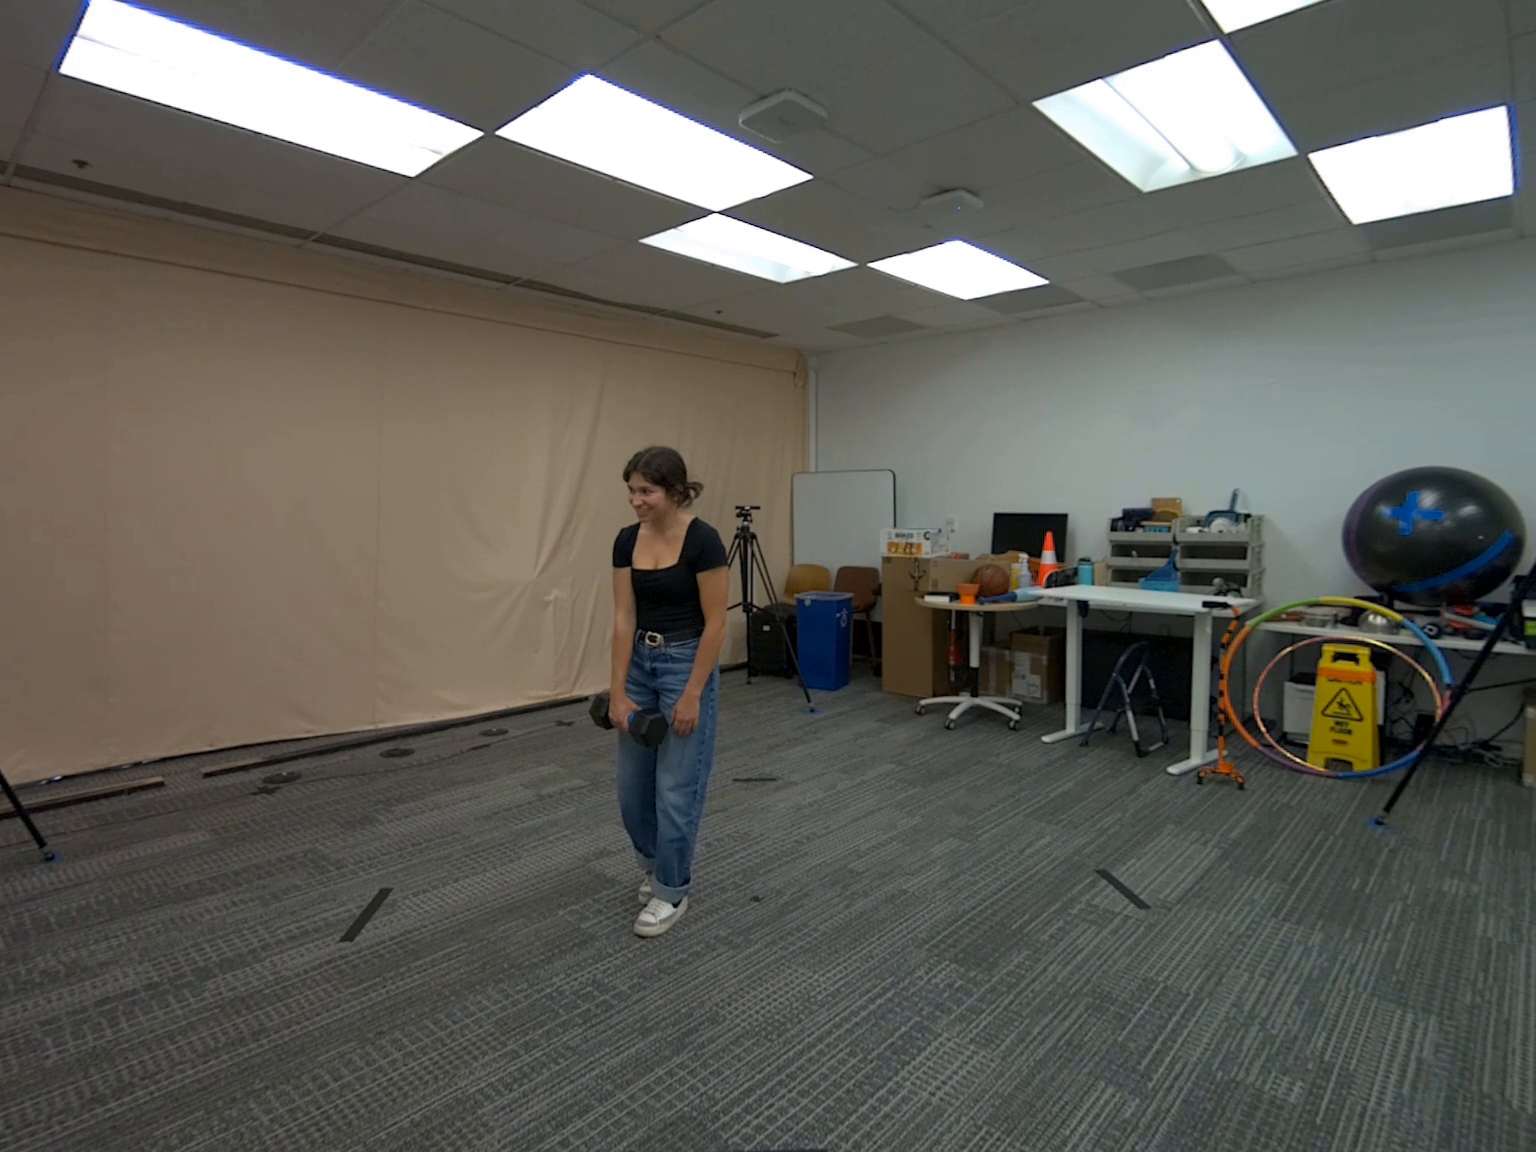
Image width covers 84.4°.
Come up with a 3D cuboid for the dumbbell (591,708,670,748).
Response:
[{"bbox_3d":[-0.452,0.471,2.768,0.304,0.120,0.107,11,42,43],"label":"dumbbell"}]
